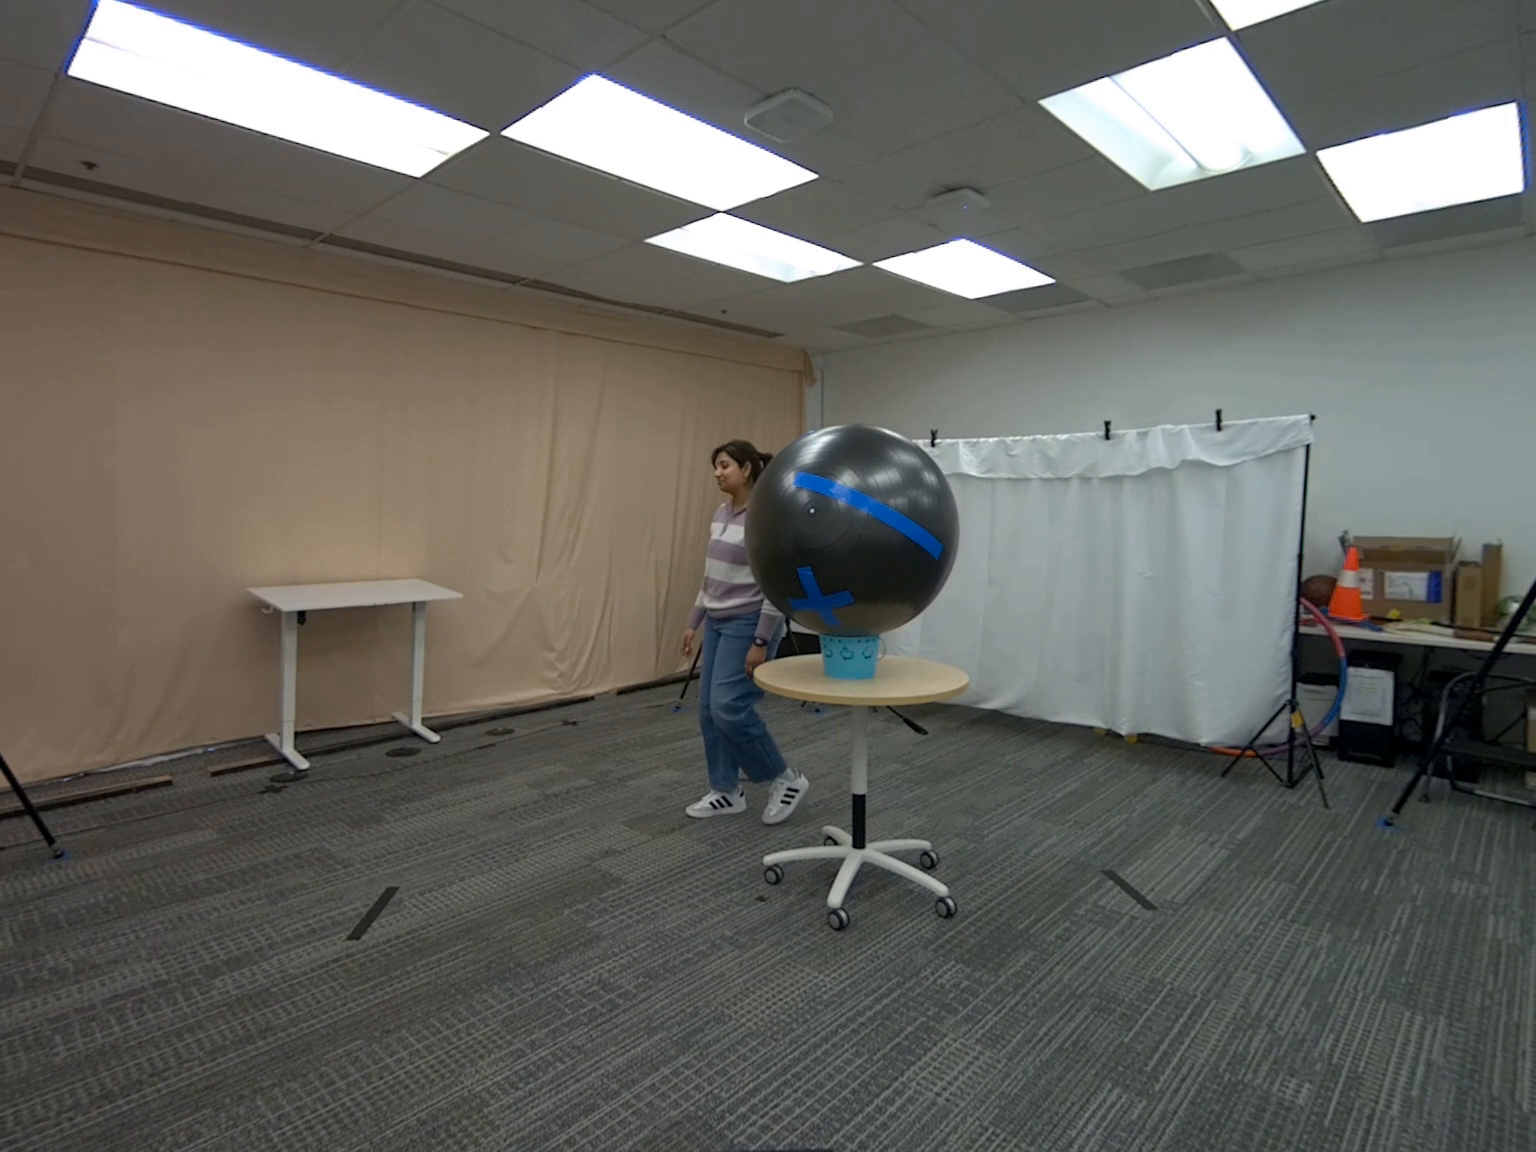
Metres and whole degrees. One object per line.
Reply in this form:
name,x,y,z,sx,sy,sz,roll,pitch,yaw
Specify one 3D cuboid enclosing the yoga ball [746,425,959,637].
yoga ball,0.300,-0.156,3.014,0.757,0.756,0.760,0,4,-2
